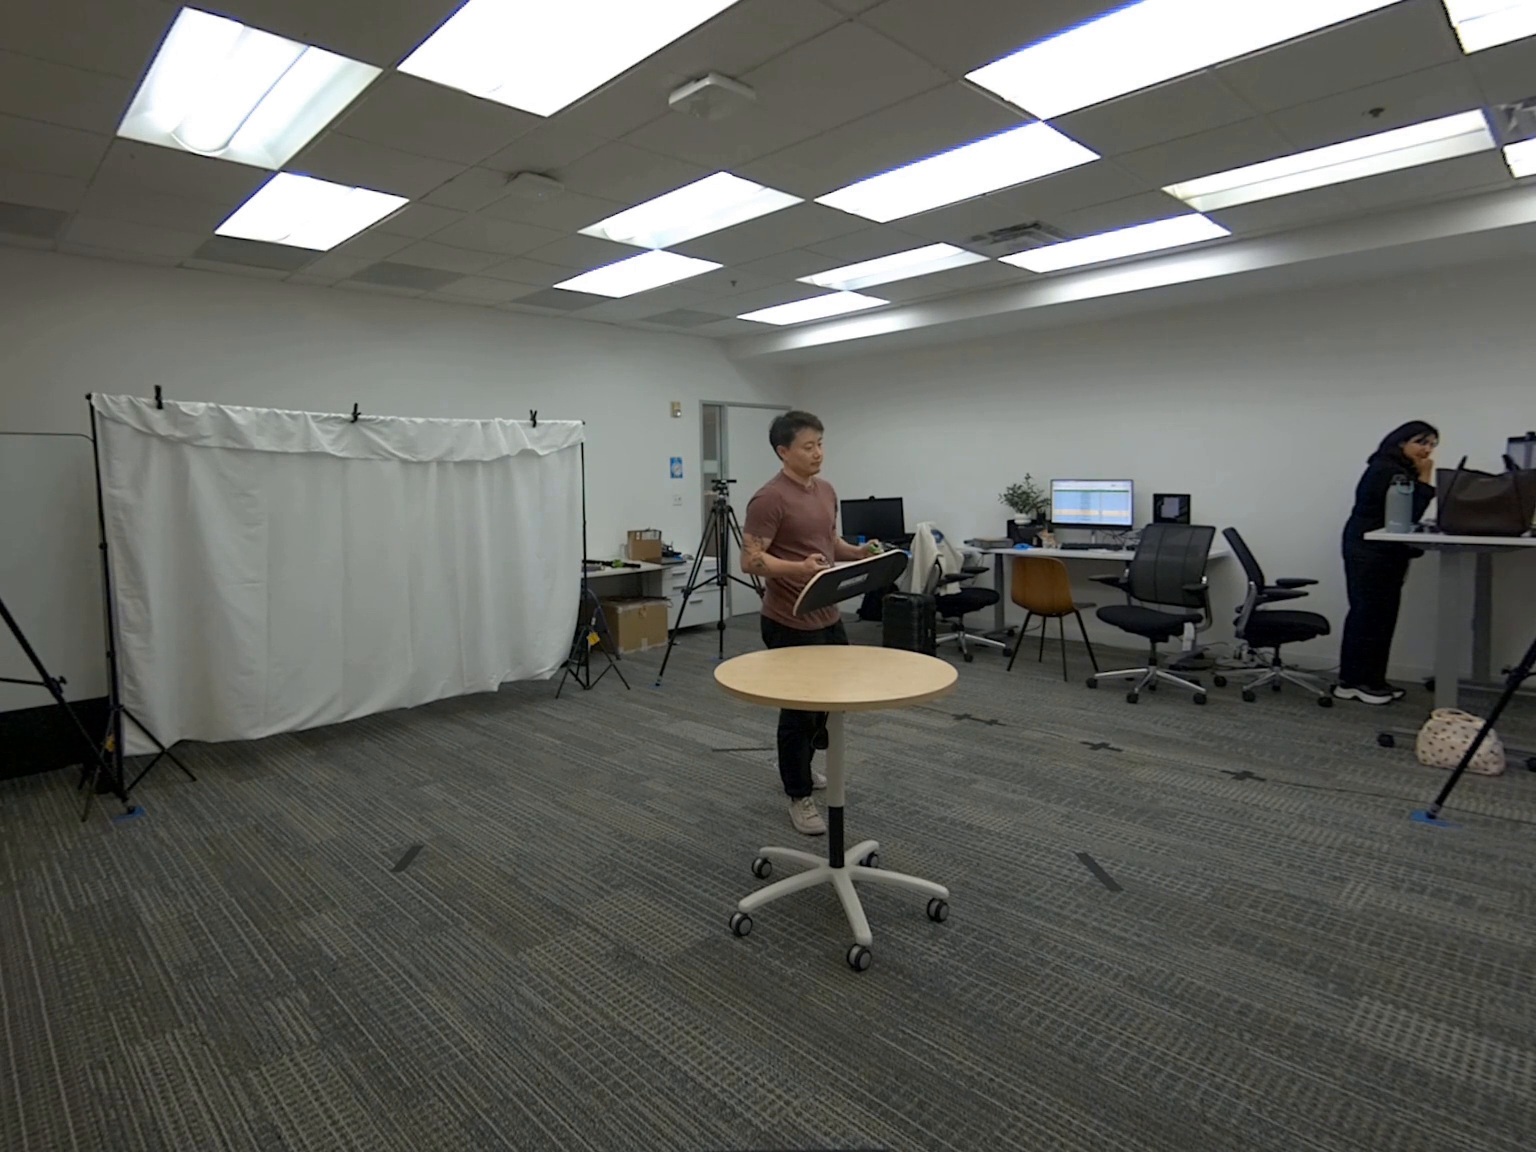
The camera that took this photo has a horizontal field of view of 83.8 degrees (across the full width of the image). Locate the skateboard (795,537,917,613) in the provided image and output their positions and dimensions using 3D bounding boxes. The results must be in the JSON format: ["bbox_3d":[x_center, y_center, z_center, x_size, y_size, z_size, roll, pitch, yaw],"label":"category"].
[{"bbox_3d":[0.301,0.003,3.372,0.114,0.191,0.767,39,31,28],"label":"skateboard"}]
